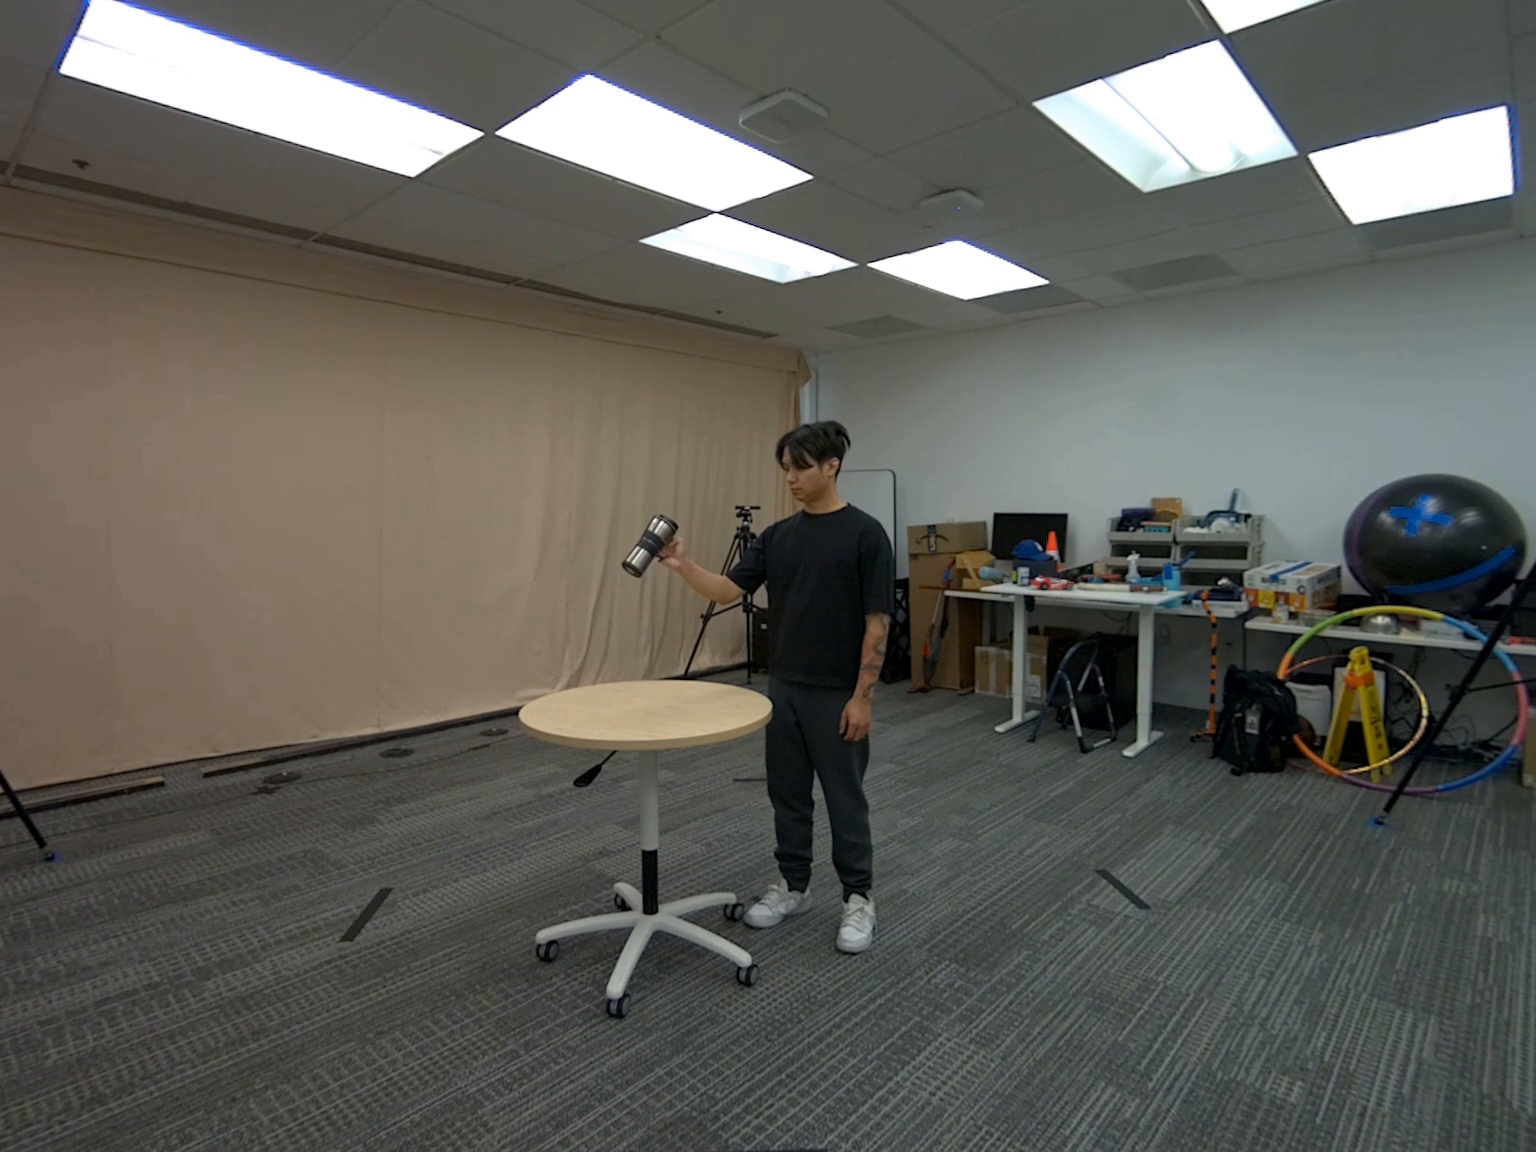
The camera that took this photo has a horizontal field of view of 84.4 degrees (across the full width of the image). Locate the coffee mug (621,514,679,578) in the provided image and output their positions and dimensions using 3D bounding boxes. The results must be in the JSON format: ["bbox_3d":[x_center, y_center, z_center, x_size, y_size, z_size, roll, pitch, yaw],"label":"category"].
[{"bbox_3d":[-0.354,-0.080,2.635,0.121,0.203,0.089,35,-18,-9],"label":"coffee mug"}]
